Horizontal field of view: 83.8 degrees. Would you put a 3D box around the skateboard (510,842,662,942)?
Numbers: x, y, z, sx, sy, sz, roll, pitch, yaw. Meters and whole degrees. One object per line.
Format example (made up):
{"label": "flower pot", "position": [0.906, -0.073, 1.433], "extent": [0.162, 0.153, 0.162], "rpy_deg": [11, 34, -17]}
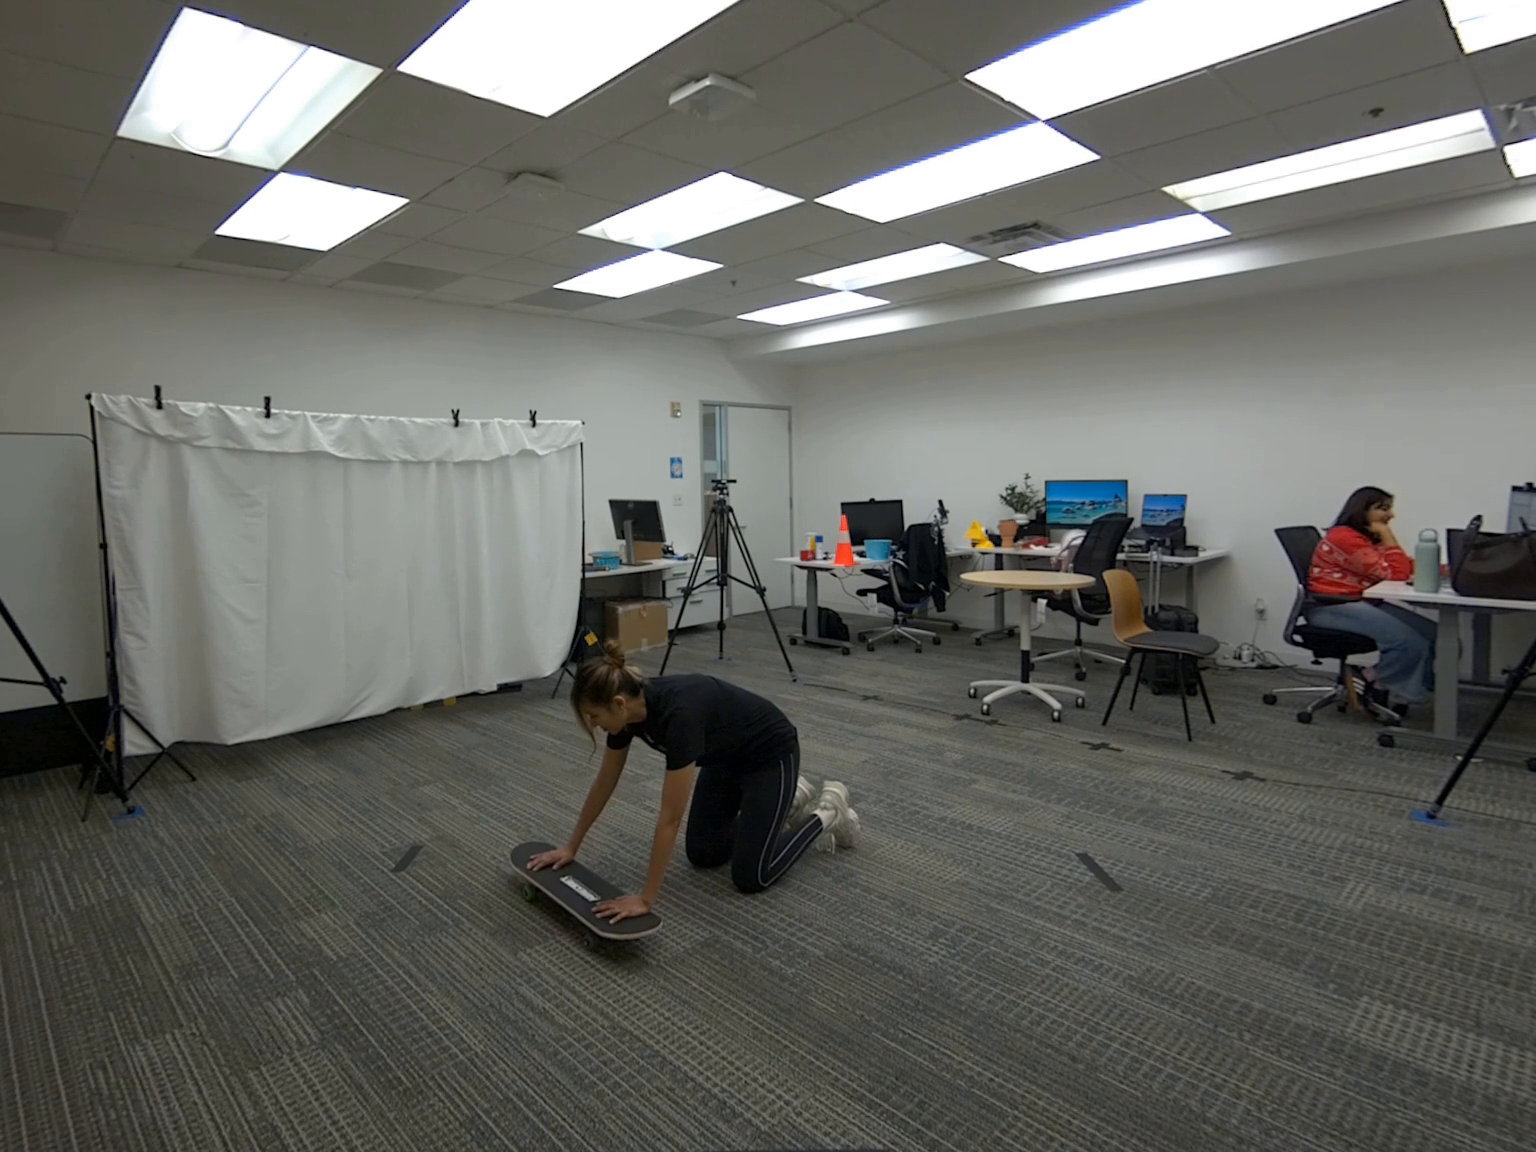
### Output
{"label": "skateboard", "position": [-0.602, 1.040, 2.767], "extent": [0.188, 0.110, 0.810], "rpy_deg": [-4, 7, -41]}
